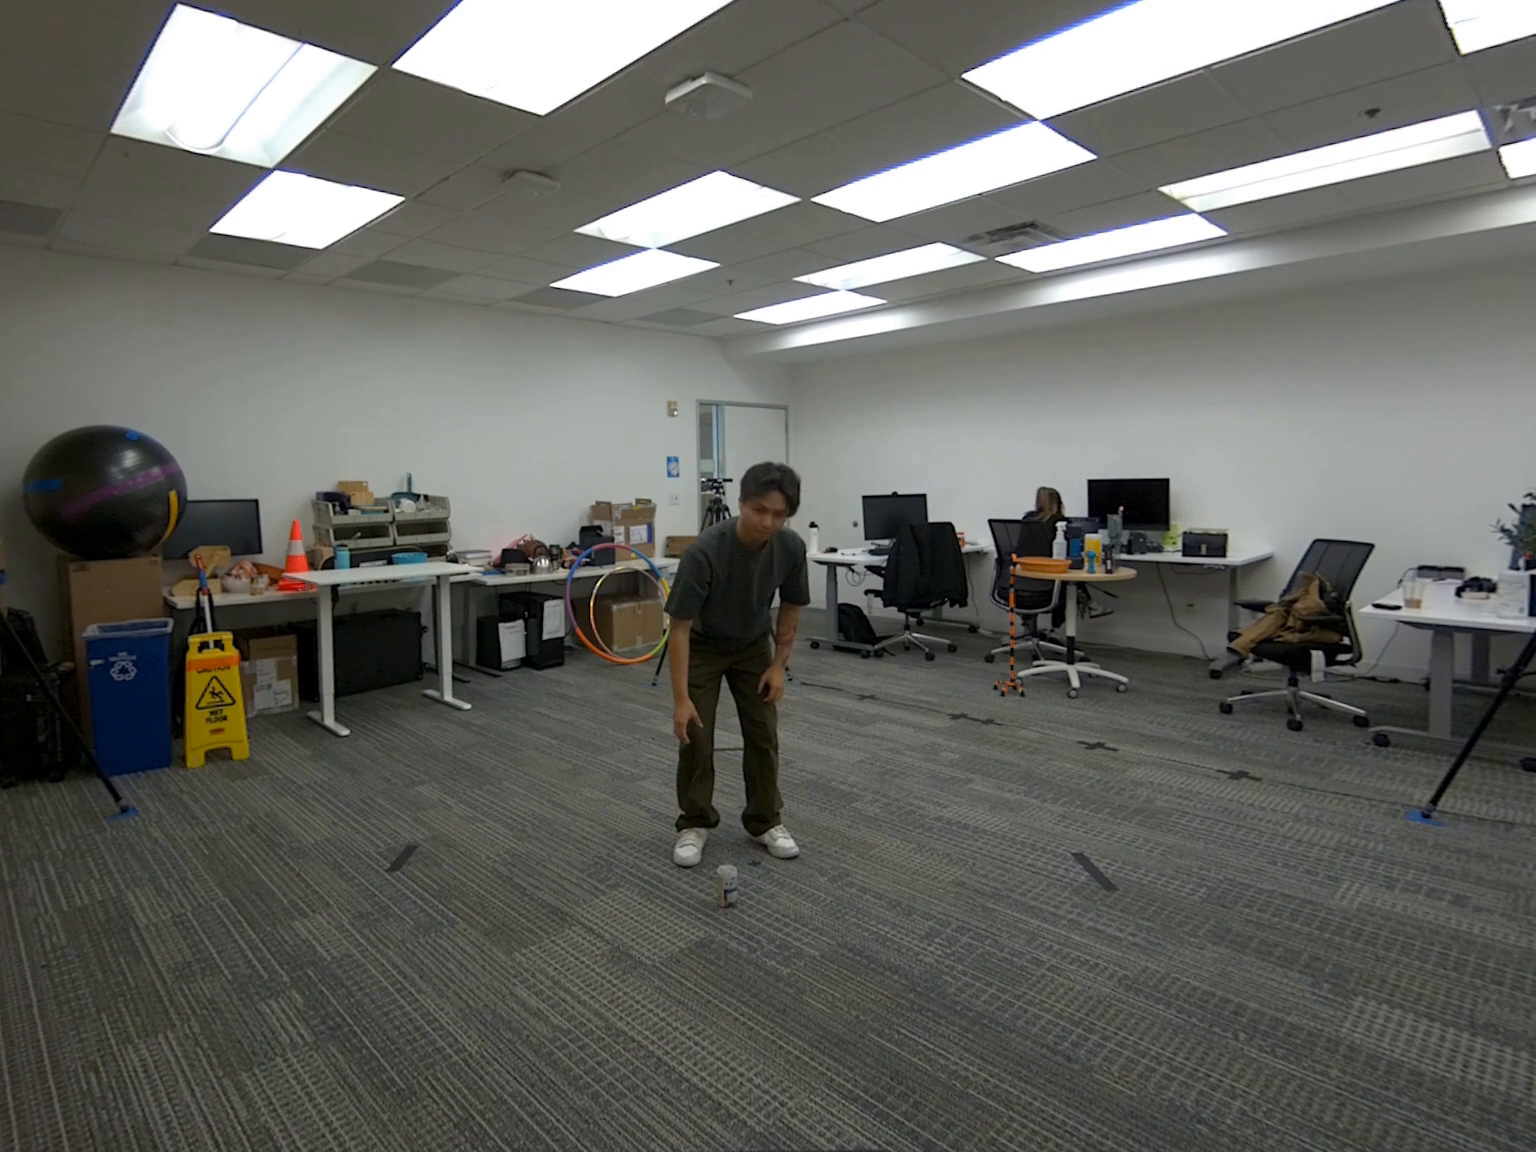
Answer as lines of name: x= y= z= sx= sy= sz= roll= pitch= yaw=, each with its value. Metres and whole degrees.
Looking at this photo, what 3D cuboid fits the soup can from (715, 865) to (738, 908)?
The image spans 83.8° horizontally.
soup can: x=-0.128 y=1.020 z=2.809 sx=0.067 sy=0.121 sz=0.067 roll=0 pitch=5 yaw=-2
